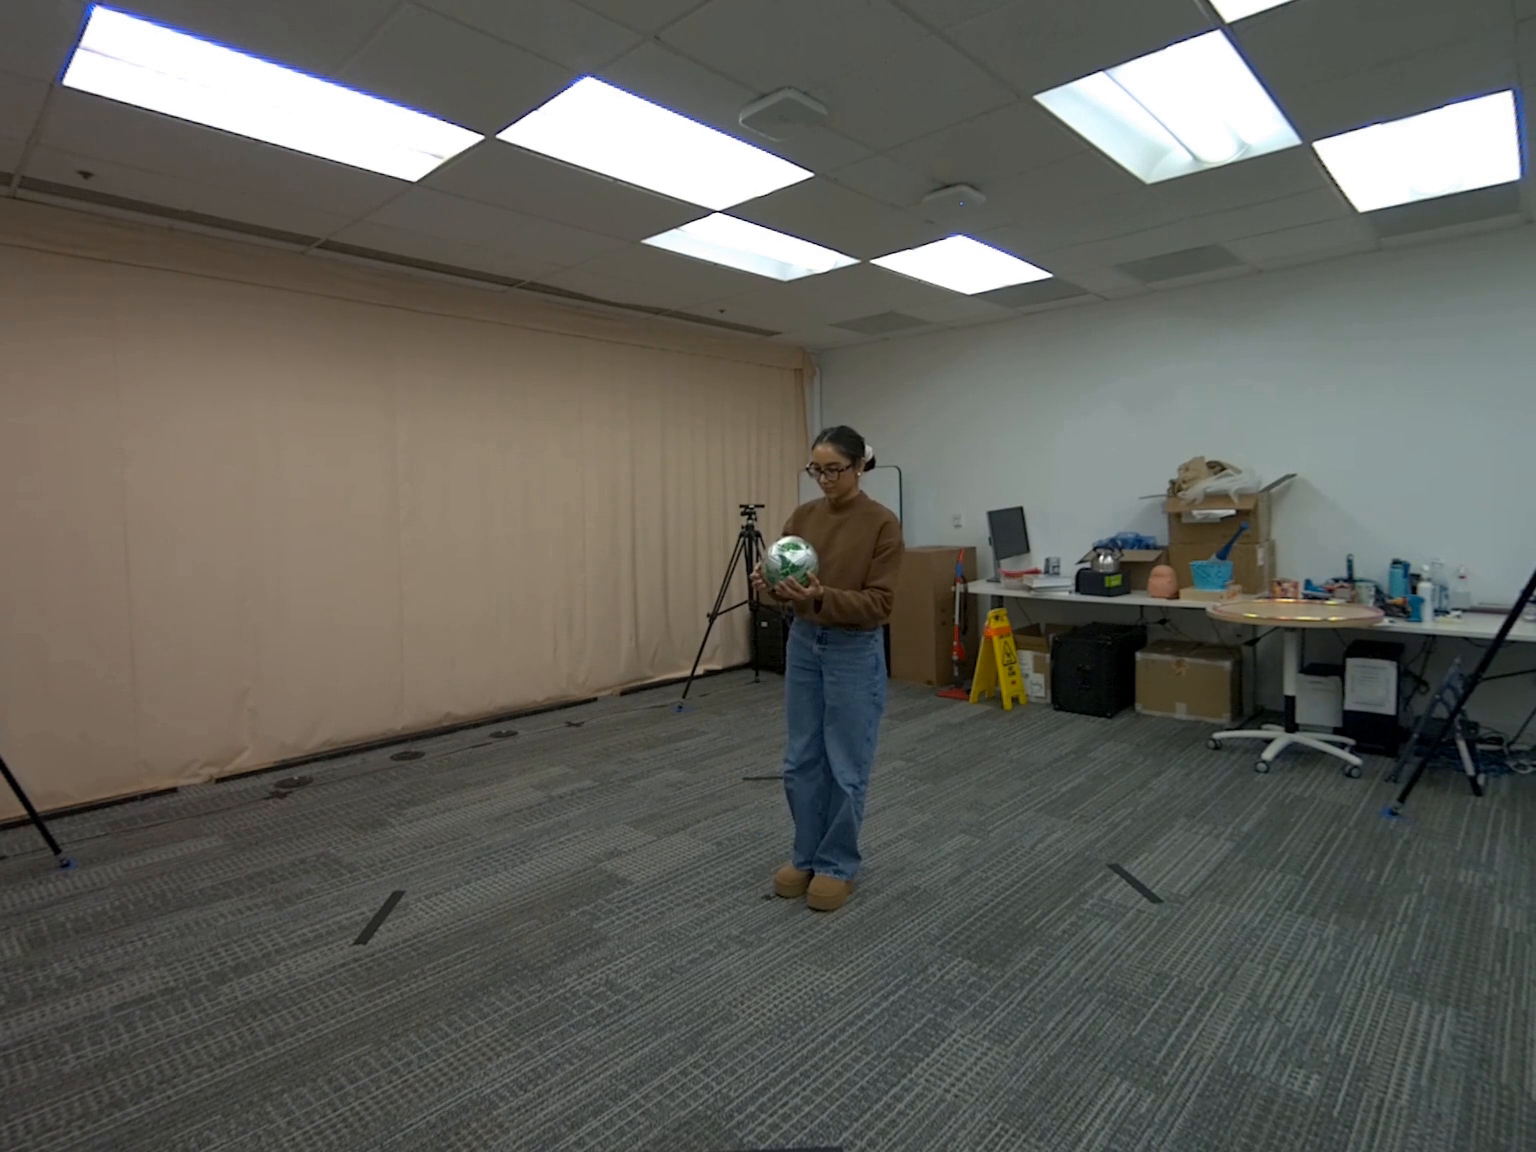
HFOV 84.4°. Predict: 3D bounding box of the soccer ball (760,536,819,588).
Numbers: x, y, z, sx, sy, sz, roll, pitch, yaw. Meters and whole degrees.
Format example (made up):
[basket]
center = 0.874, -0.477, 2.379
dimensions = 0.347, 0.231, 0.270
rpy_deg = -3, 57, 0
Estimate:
[soccer ball]
center = 0.067, -0.024, 2.698
dimensions = 0.187, 0.187, 0.188
rpy_deg = -1, 4, -2
